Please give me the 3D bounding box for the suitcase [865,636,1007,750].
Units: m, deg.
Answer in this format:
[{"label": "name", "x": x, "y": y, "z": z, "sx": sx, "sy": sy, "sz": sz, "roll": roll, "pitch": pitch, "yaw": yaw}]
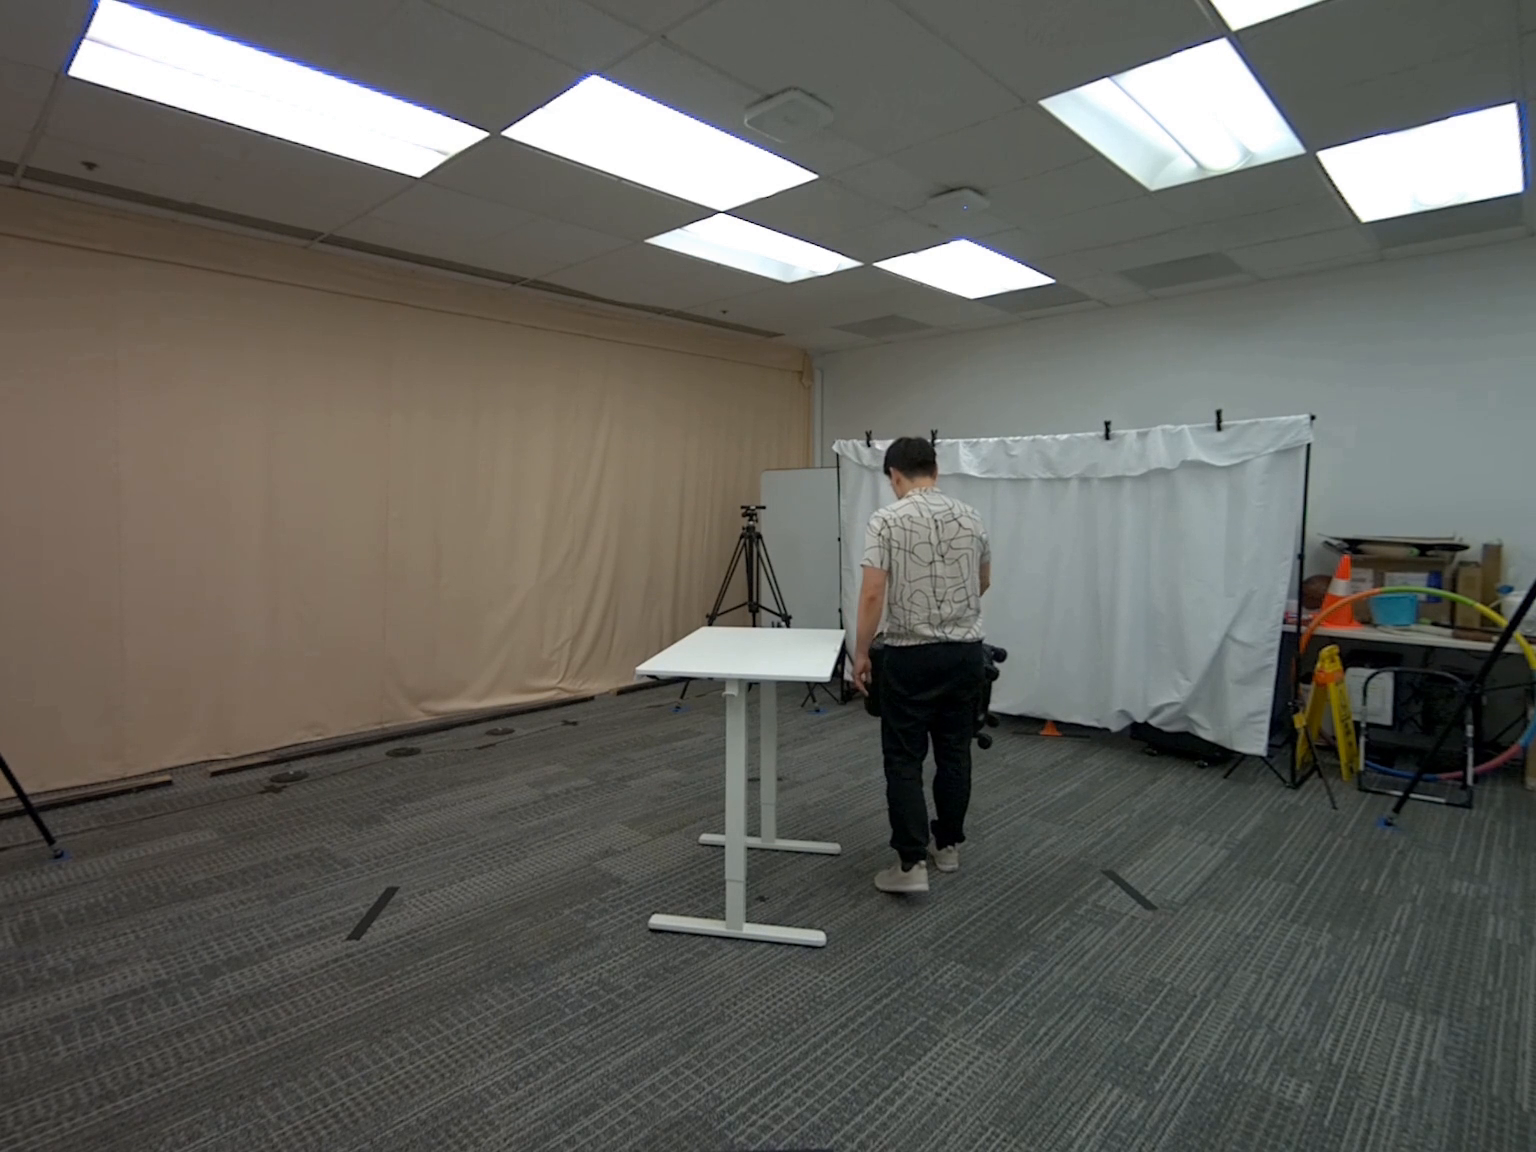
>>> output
[{"label": "suitcase", "x": 0.692, "y": 0.435, "z": 3.518, "sx": 0.564, "sy": 0.372, "sz": 0.244, "roll": 11, "pitch": 17, "yaw": 25}]
